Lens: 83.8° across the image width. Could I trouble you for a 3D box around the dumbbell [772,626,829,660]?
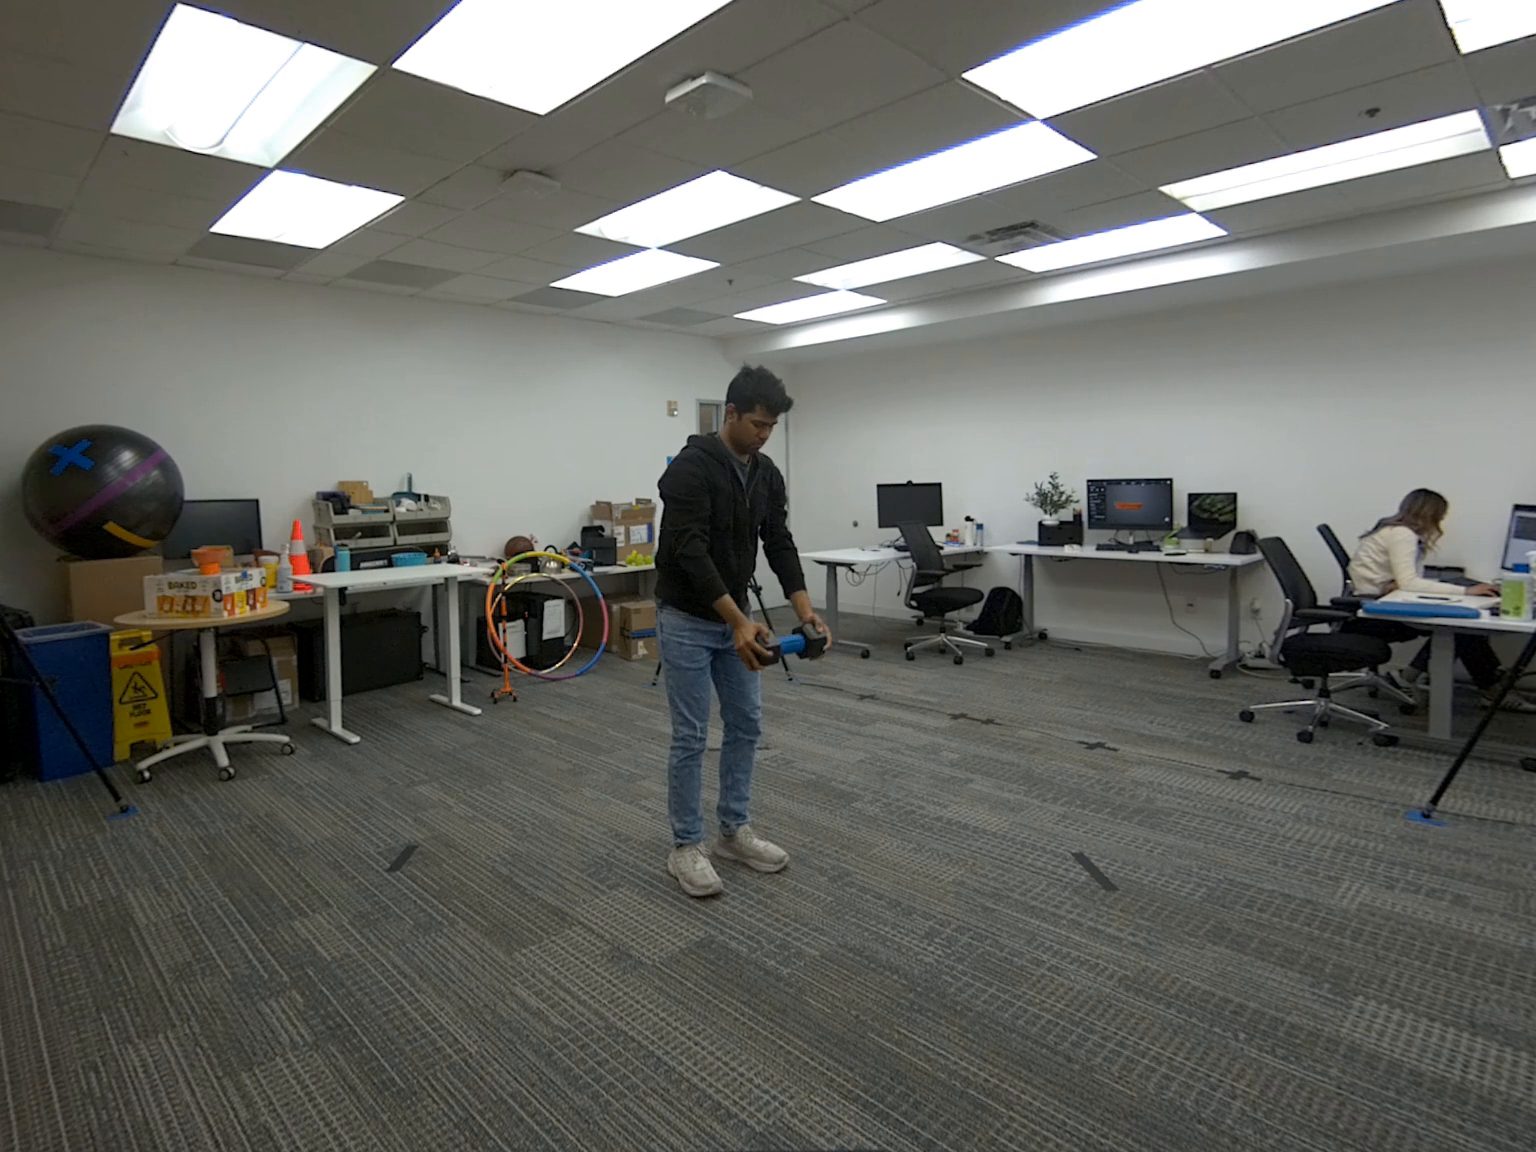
[{"bbox_3d":[0.059,0.213,2.781,0.286,0.110,0.124,-6,-14,-39],"label":"dumbbell"}]
